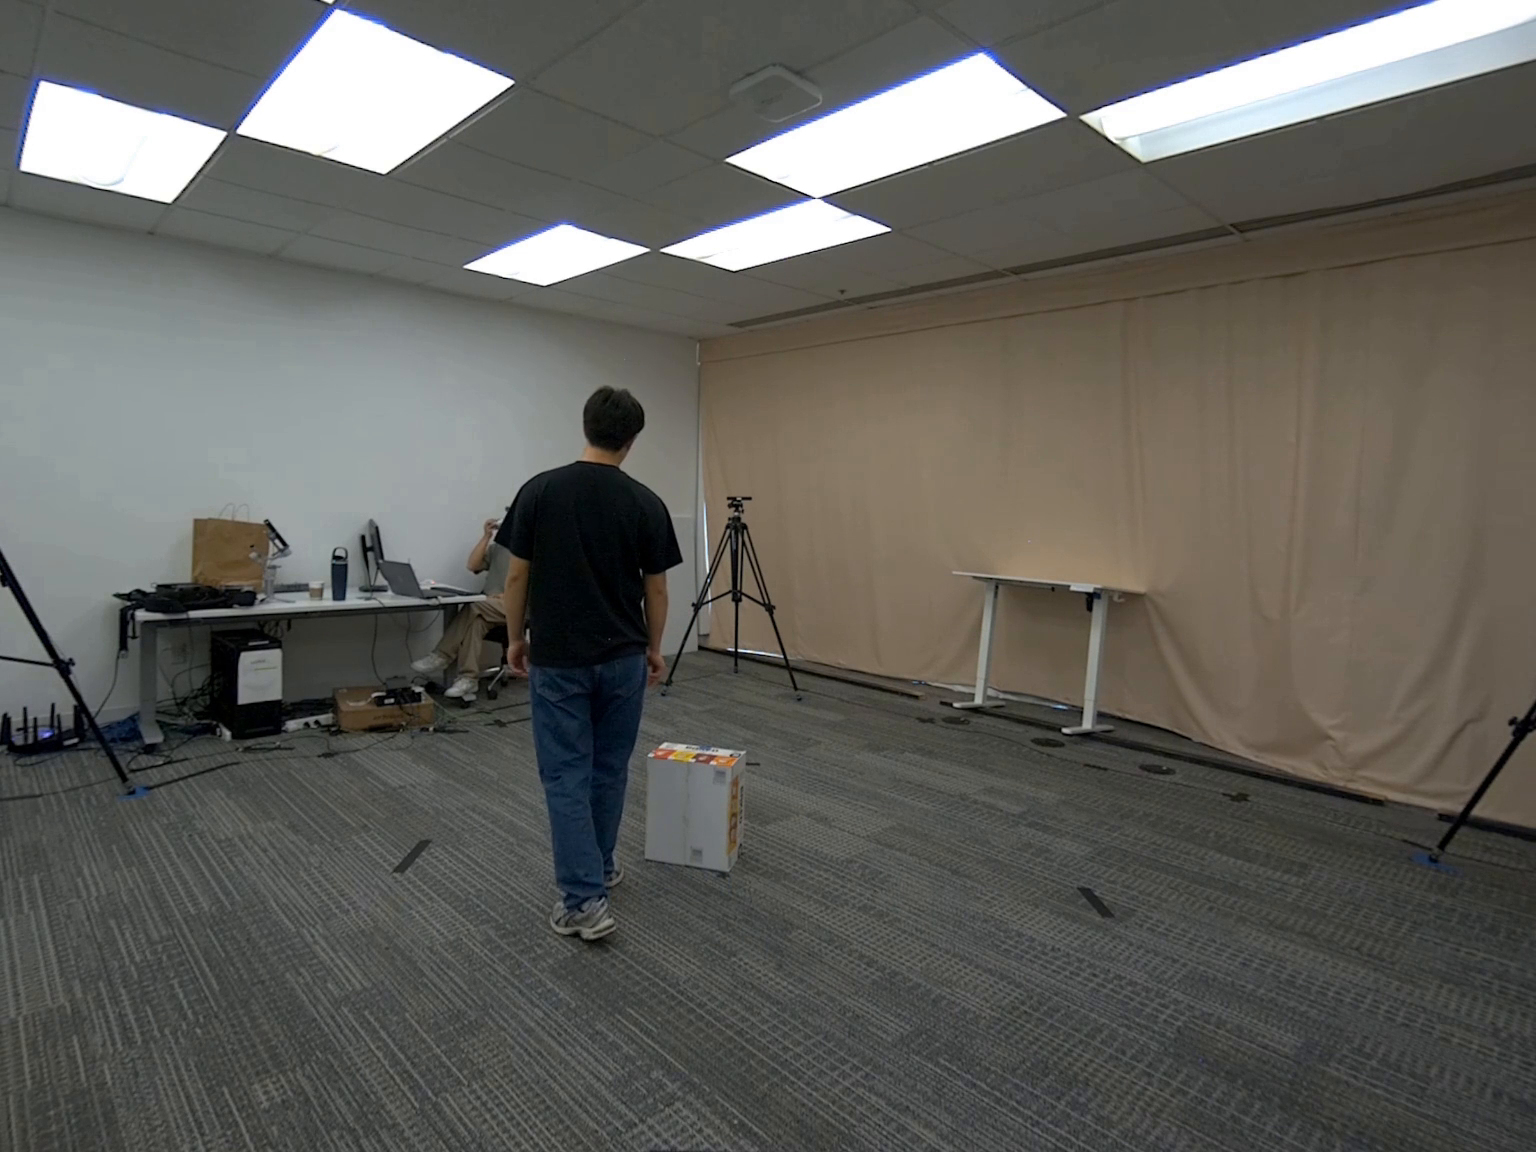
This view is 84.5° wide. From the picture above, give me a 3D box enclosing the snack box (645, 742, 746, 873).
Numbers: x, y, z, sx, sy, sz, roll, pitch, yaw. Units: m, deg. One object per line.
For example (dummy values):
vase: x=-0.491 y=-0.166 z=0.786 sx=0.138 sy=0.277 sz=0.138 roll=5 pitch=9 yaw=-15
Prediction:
snack box: x=-0.284 y=0.886 z=3.255 sx=0.345 sy=0.404 sz=0.203 roll=3 pitch=3 yaw=16
